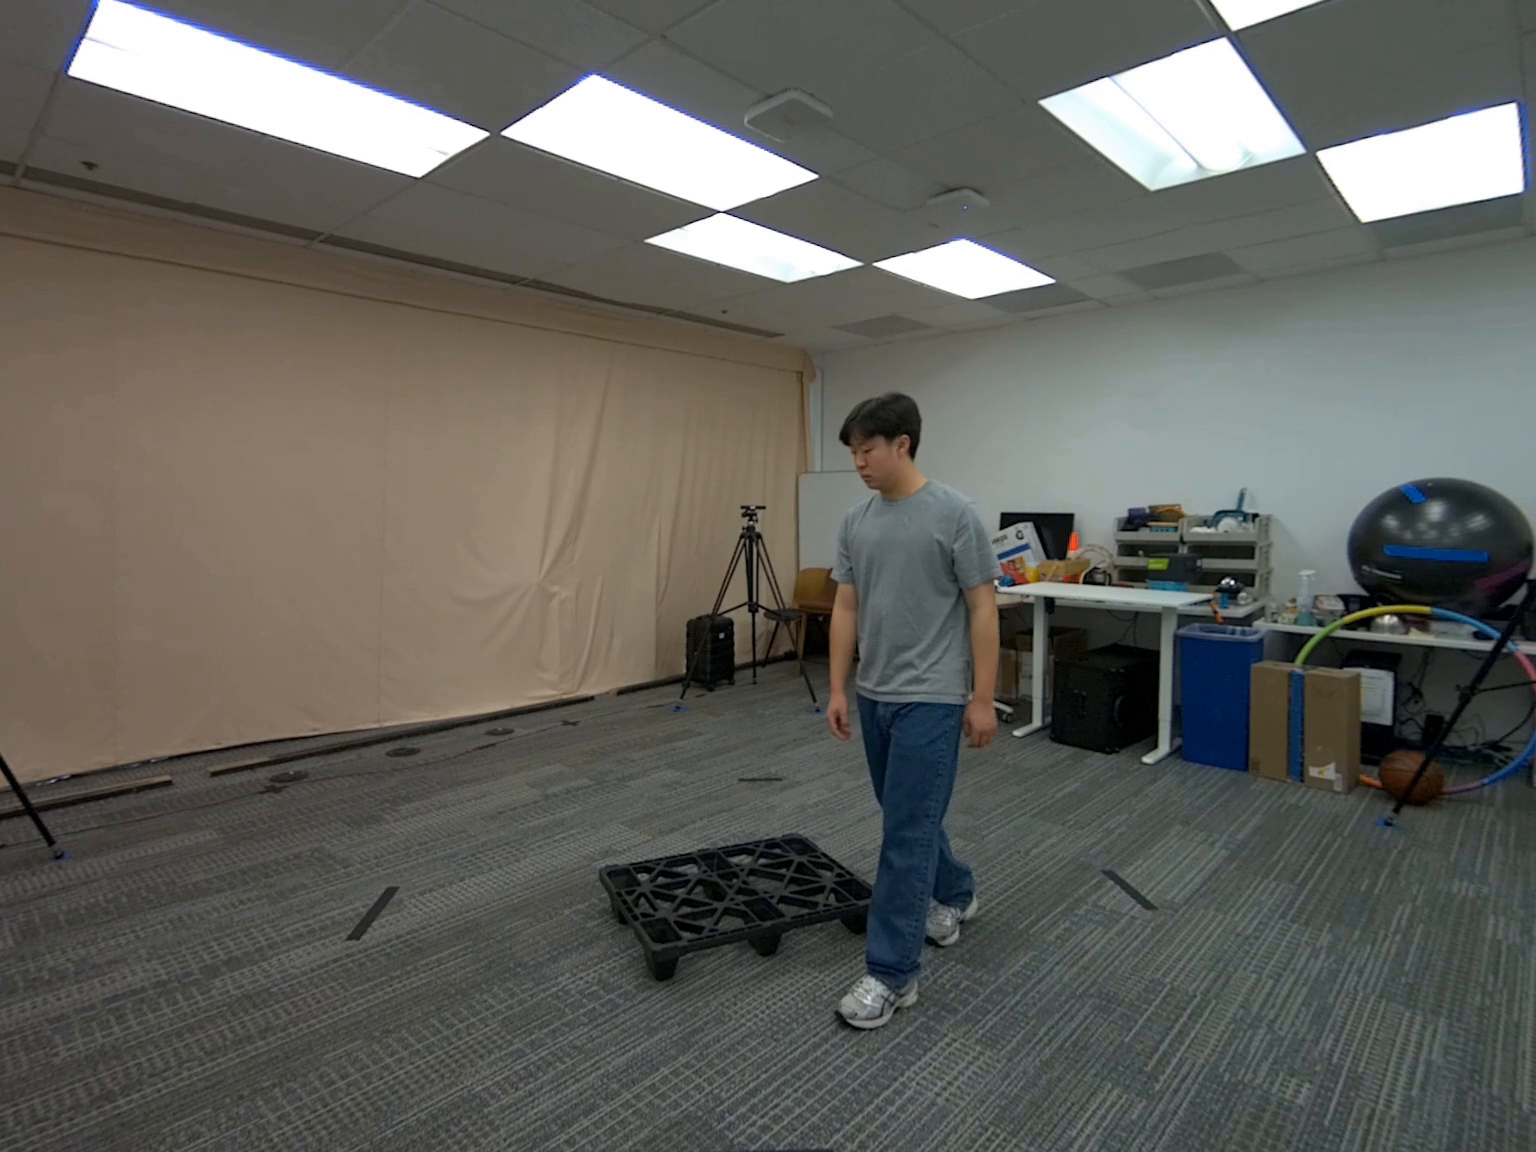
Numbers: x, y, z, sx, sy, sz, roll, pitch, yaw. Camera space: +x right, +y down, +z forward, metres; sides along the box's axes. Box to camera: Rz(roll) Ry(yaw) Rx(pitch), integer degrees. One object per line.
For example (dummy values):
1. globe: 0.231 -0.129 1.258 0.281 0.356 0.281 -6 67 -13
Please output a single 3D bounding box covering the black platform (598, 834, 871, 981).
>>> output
1. black platform: -0.103 1.088 2.818 0.787 0.143 0.620 -2 4 -25
